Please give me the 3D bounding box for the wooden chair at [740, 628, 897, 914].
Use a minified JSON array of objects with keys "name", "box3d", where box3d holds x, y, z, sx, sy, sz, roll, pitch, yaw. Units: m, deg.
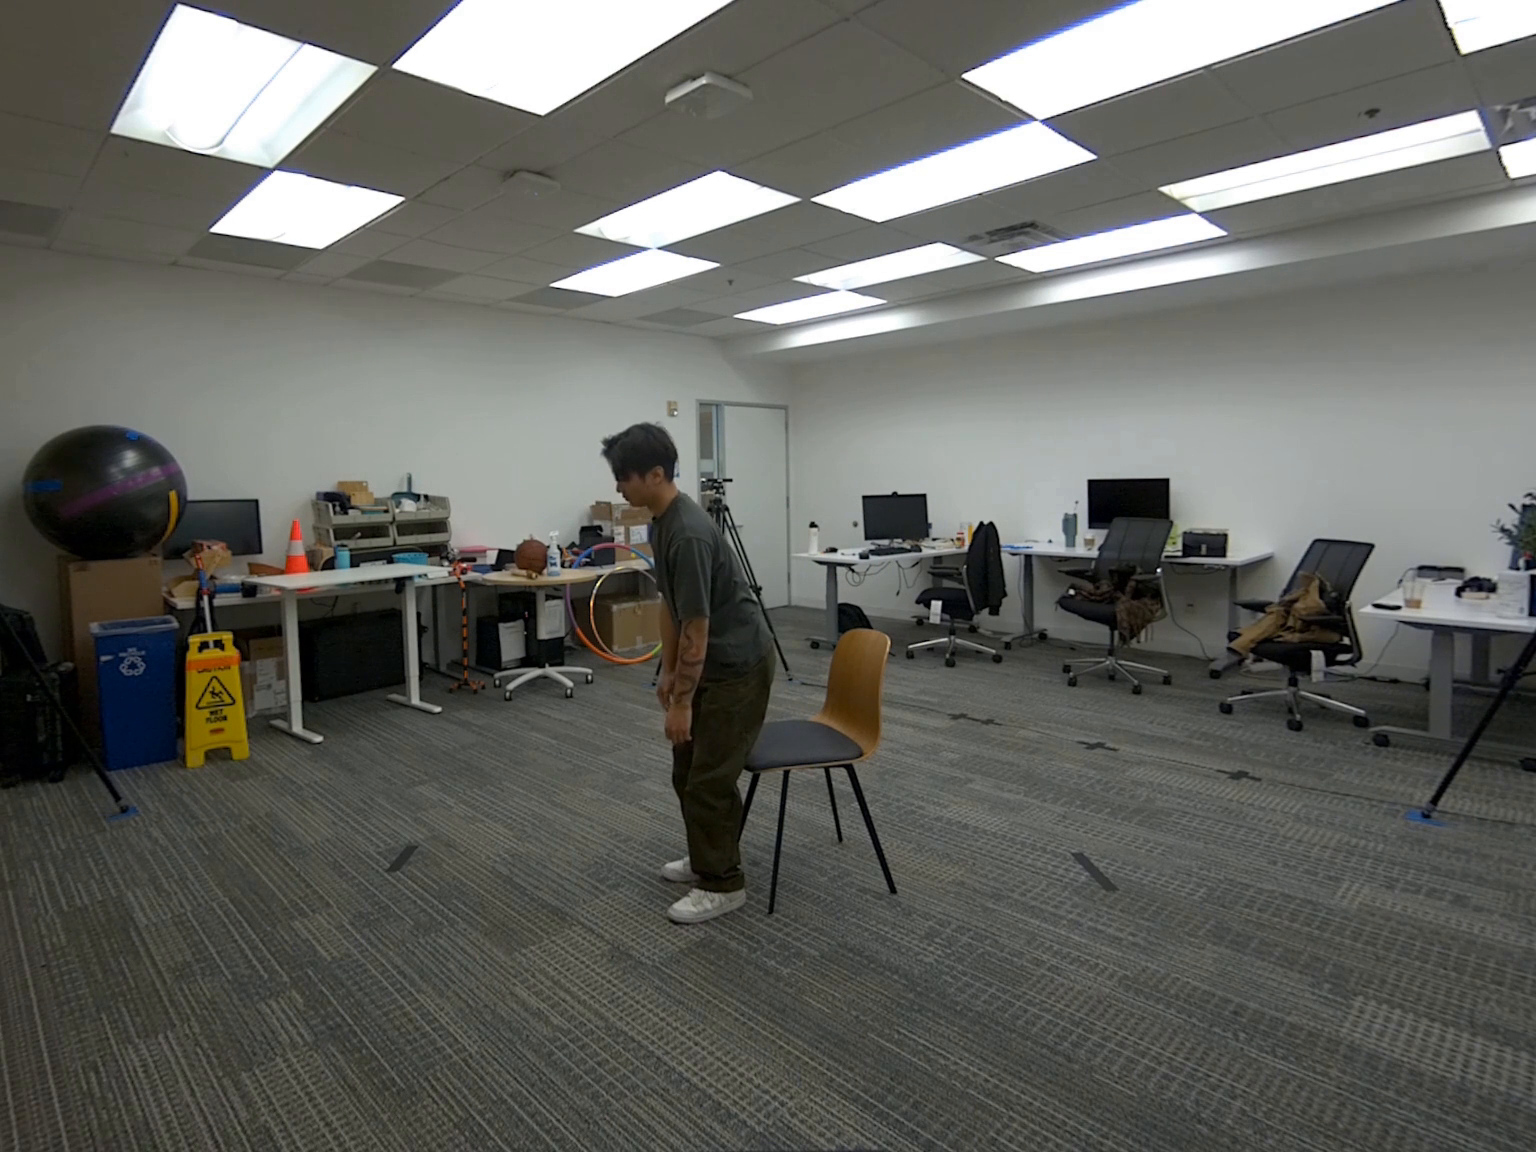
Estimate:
[{"name":"wooden chair","box3d":[0.138,0.629,2.980,0.514,0.875,0.488,2,4,-18]}]
